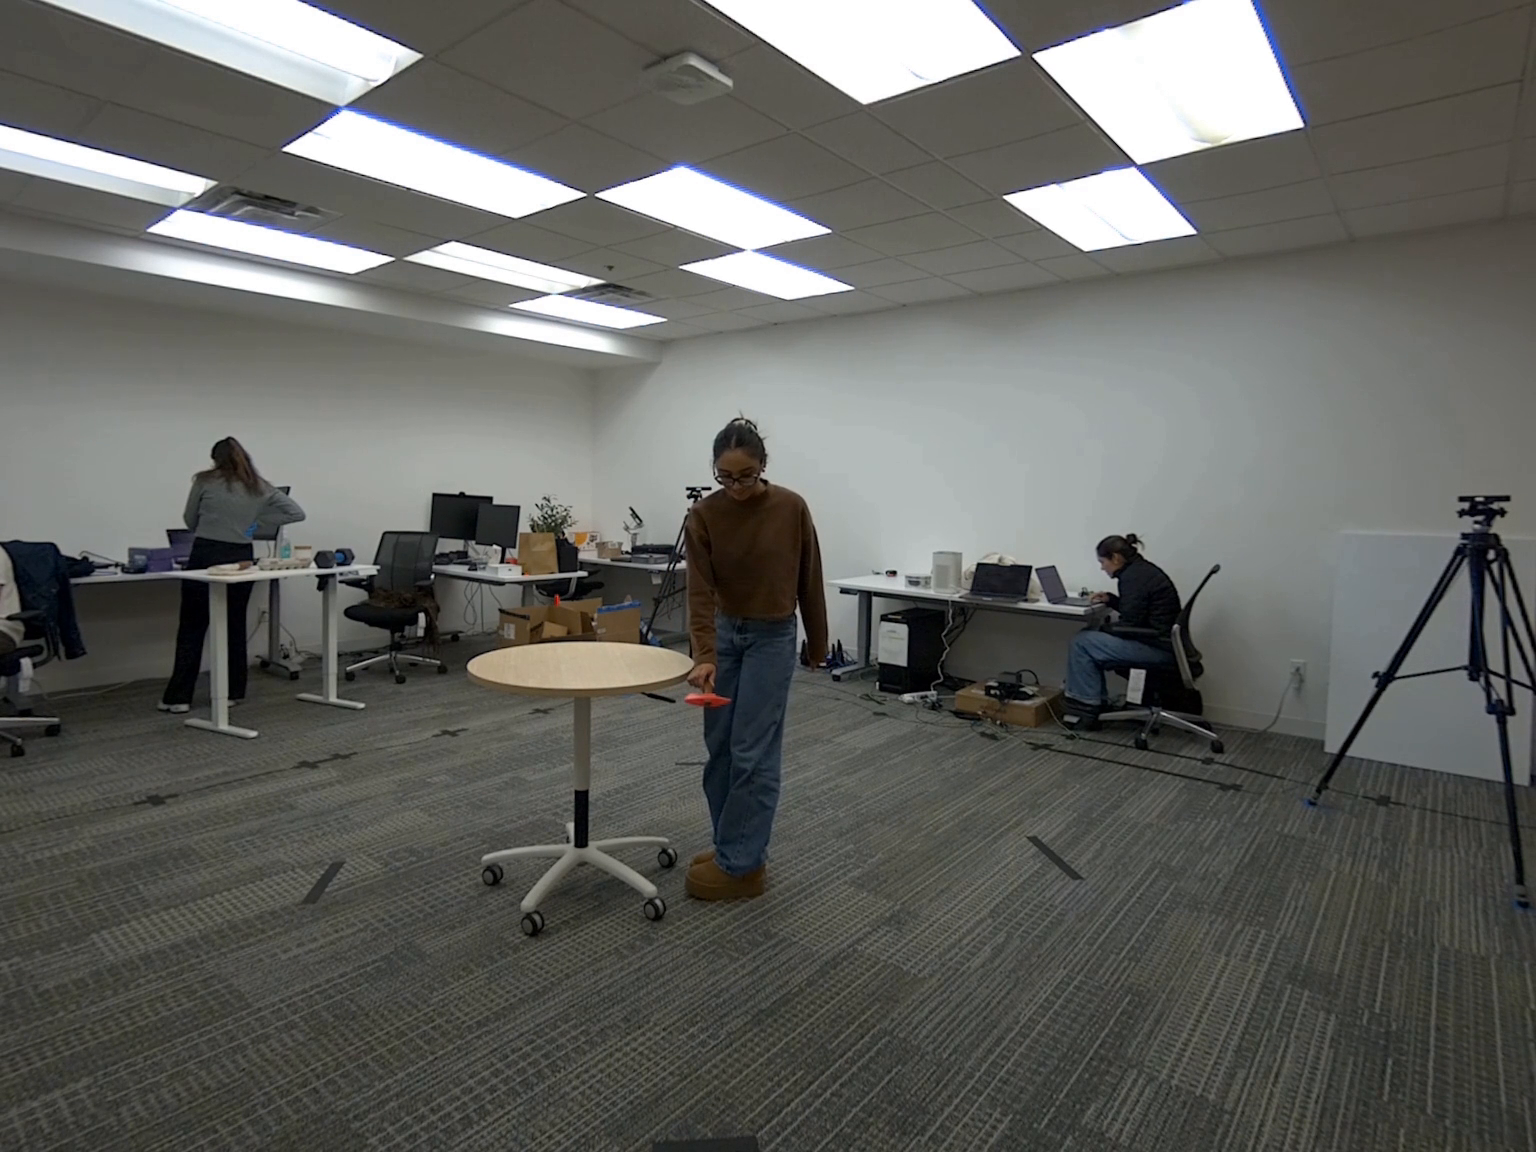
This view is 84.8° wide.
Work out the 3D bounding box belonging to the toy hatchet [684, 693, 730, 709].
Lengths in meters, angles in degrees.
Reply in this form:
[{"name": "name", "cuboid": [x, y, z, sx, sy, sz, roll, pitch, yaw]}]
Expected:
[{"name": "toy hatchet", "cuboid": [-0.179, 0.337, 2.598, 0.132, 0.029, 0.269, 3, 8, 8]}]
